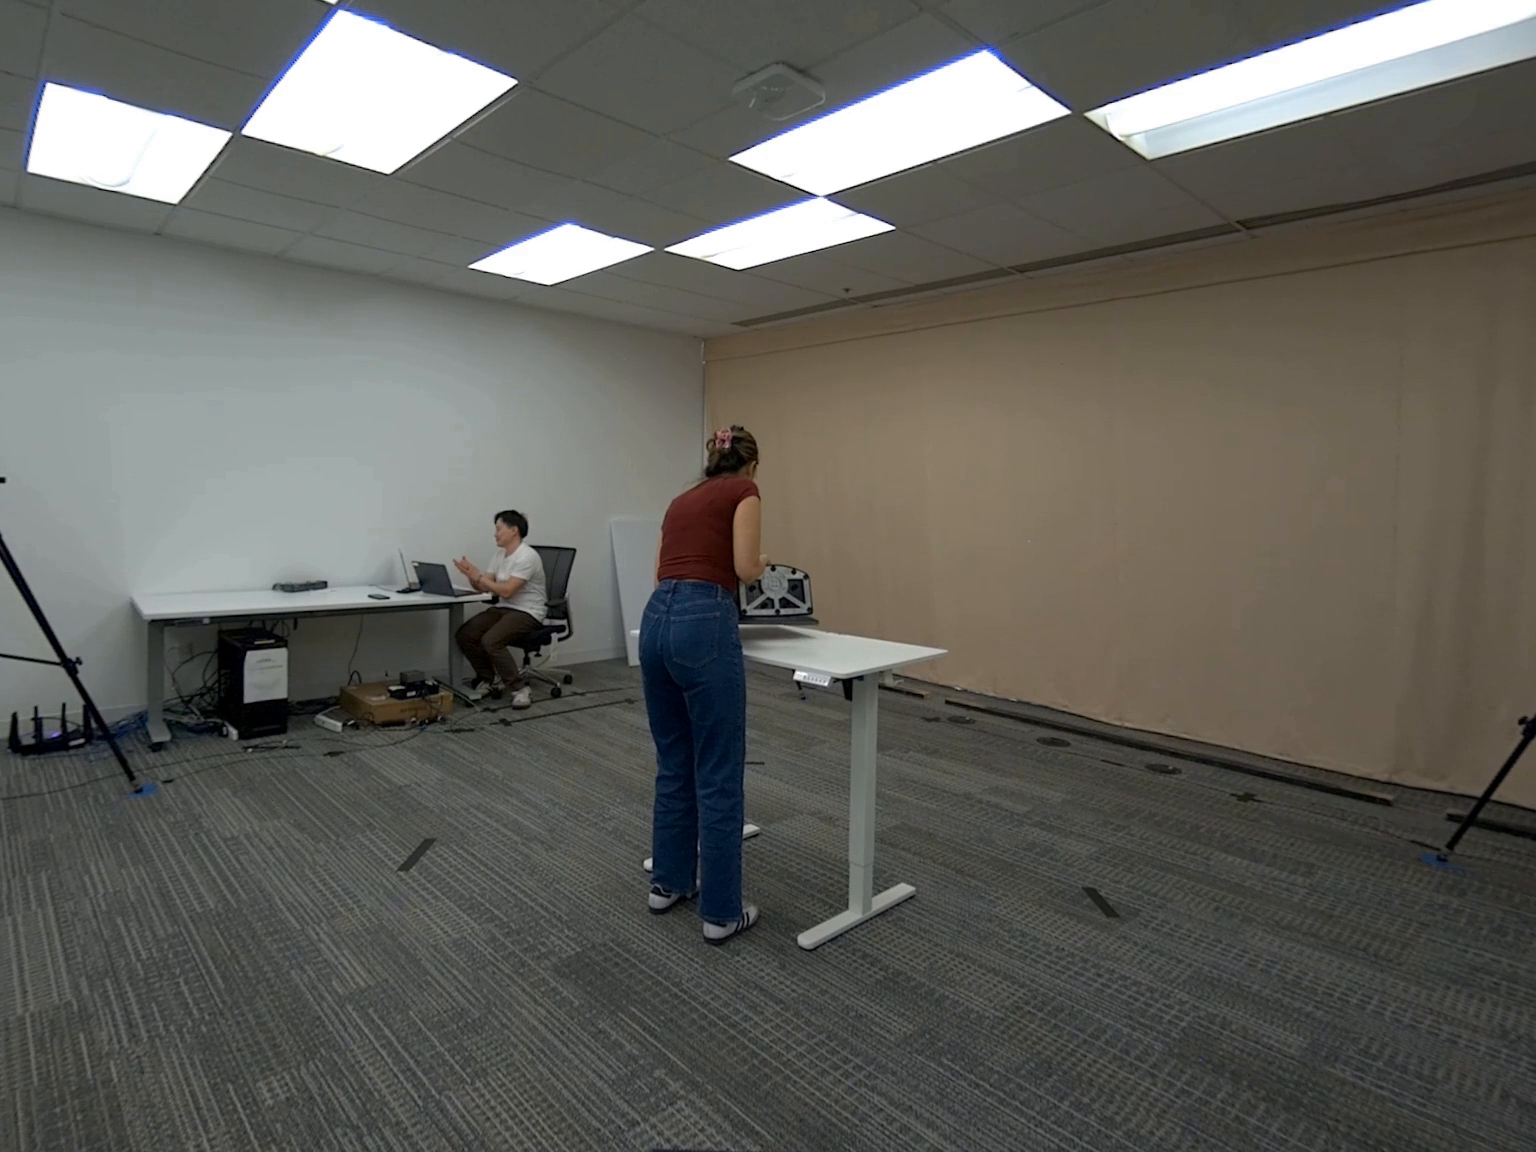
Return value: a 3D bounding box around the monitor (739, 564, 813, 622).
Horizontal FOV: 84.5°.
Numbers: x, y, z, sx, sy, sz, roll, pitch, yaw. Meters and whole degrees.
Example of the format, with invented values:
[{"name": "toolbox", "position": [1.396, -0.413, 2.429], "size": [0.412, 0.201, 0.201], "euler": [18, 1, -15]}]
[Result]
[{"name": "monitor", "position": [-0.084, 0.085, 3.082], "size": [0.529, 0.188, 0.530], "euler": [4, -7, -25]}]
